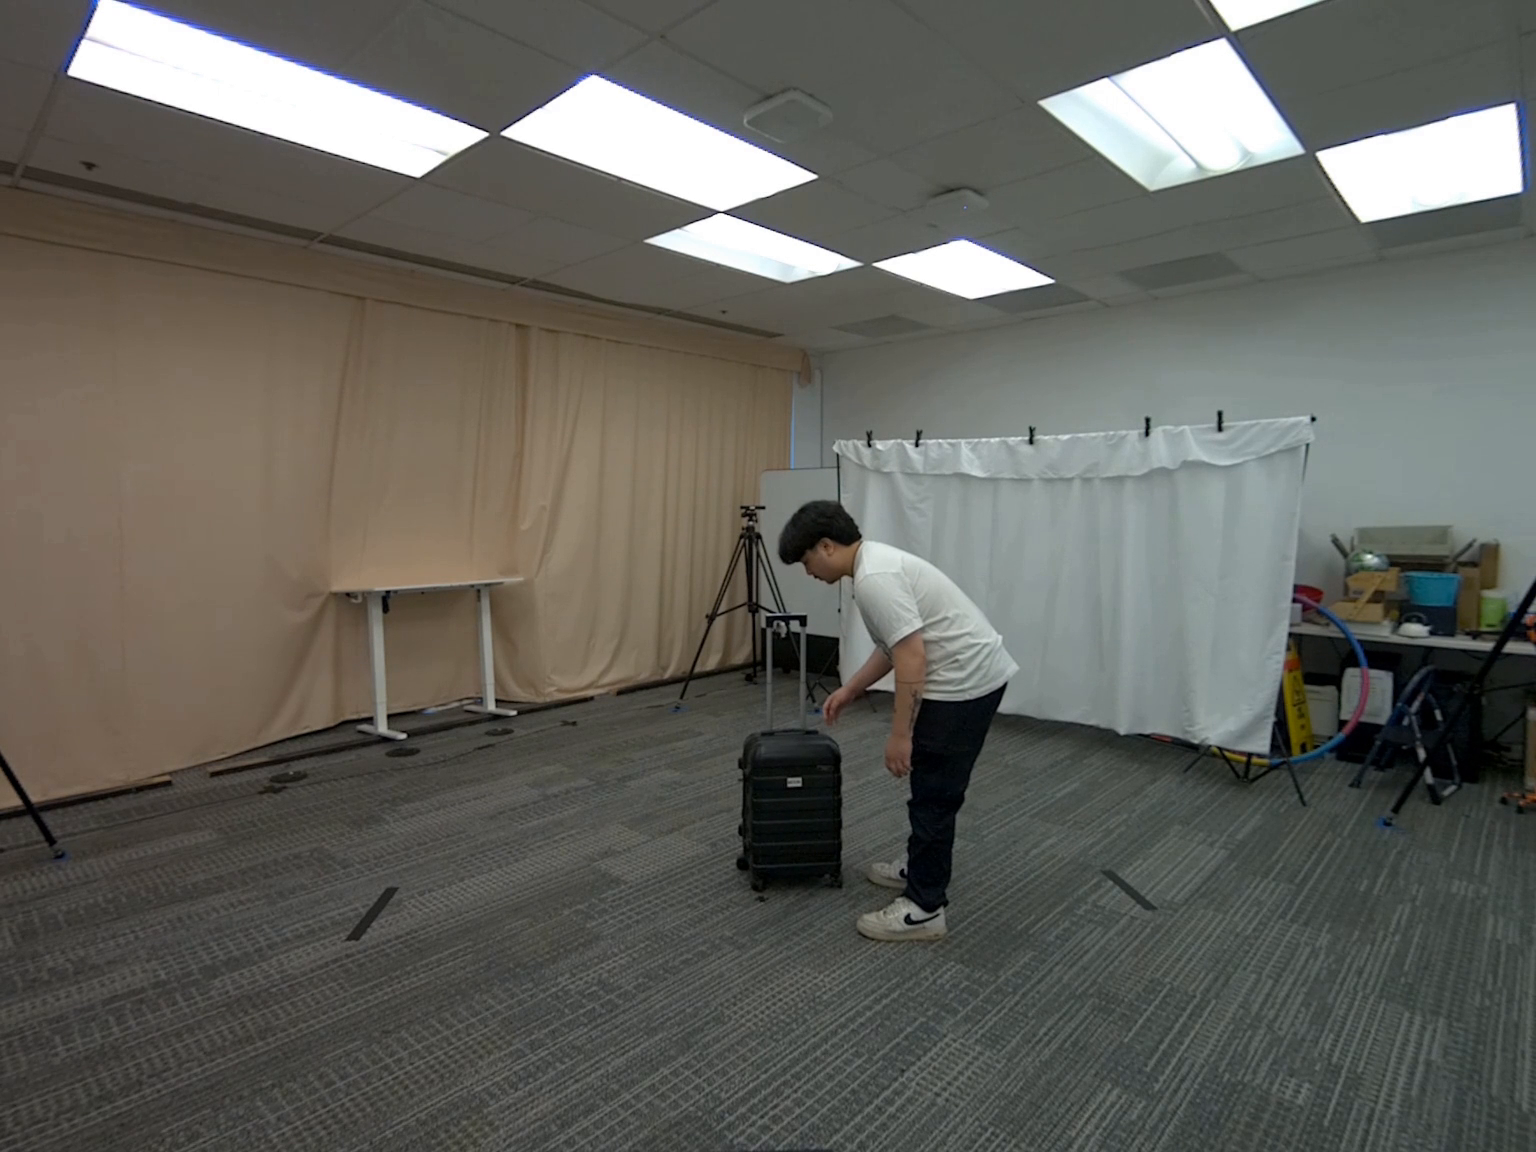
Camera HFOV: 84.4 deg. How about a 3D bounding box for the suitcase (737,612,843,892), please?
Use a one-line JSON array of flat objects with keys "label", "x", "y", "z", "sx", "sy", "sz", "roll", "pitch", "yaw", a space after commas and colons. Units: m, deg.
[{"label": "suitcase", "x": 0.090, "y": 0.657, "z": 3.118, "sx": 0.382, "sy": 0.975, "sz": 0.259, "roll": 0, "pitch": 6, "yaw": -6}]
